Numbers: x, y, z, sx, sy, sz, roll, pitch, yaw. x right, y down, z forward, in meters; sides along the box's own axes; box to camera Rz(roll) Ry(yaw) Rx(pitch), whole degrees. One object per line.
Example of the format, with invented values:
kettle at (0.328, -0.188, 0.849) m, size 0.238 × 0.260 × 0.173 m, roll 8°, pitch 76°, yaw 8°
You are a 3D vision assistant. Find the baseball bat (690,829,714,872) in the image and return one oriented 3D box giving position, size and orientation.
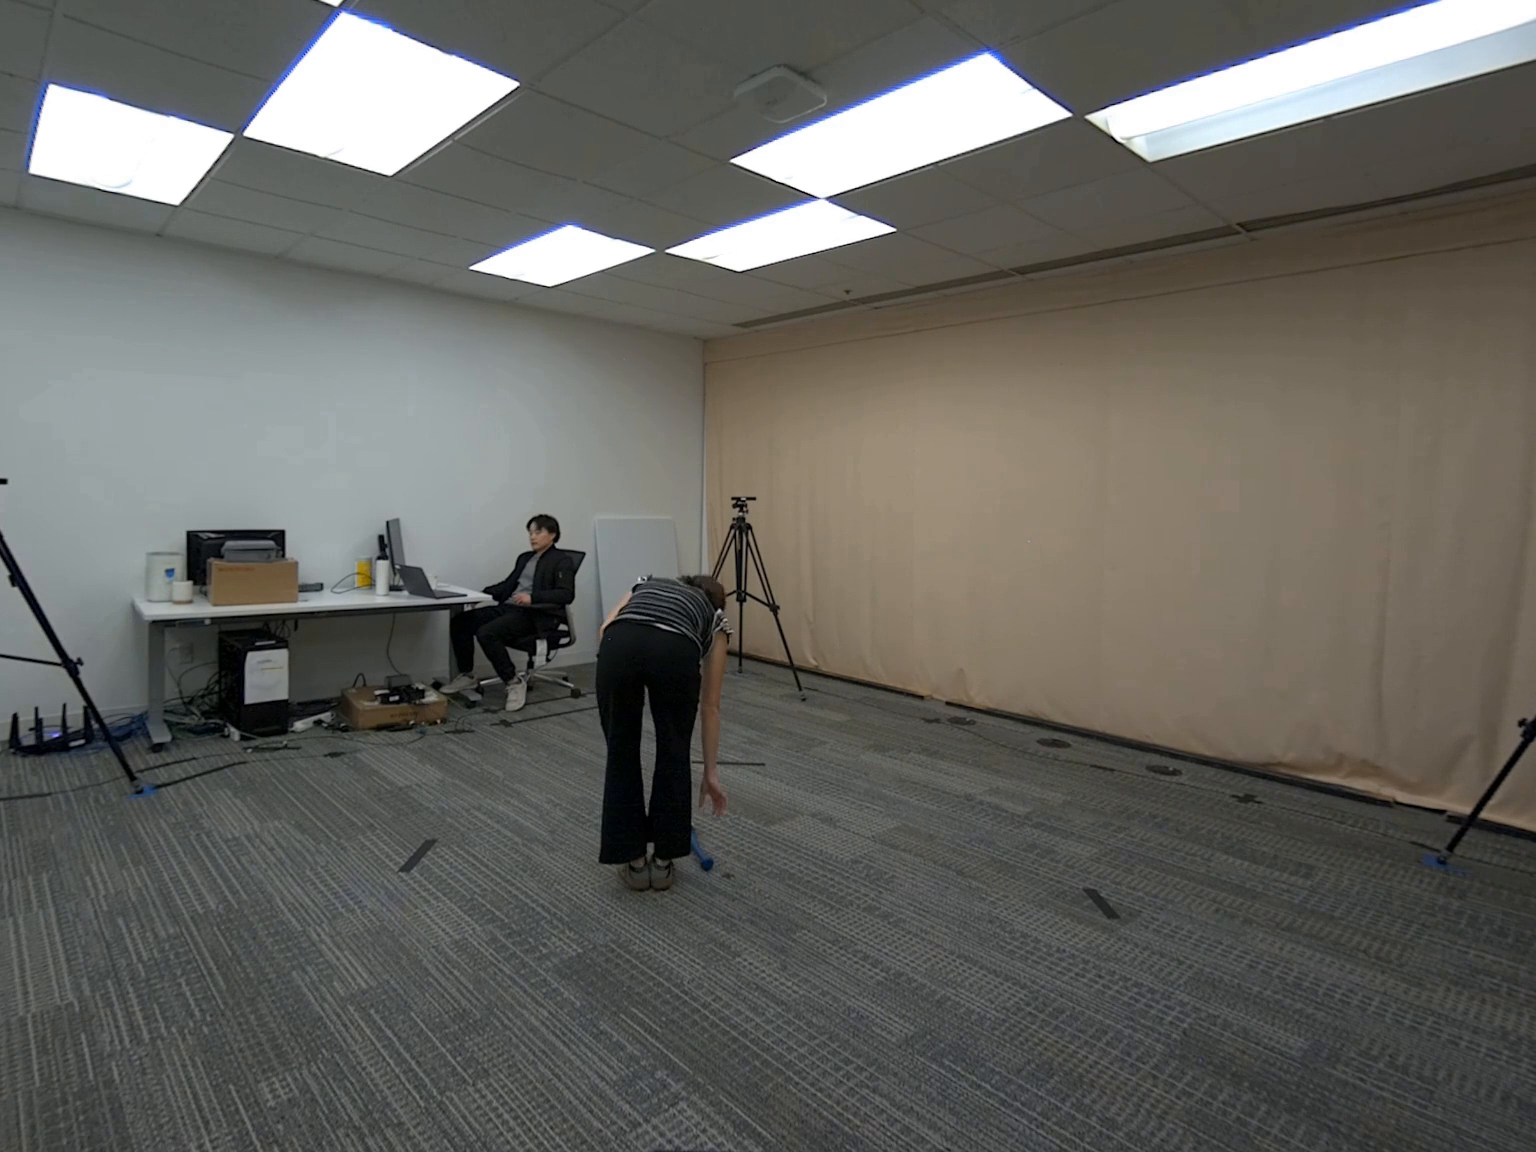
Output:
baseball bat at (-0.330, 1.043, 3.392) m, size 0.088 × 0.088 × 0.553 m, roll 0°, pitch 8°, yaw -20°
